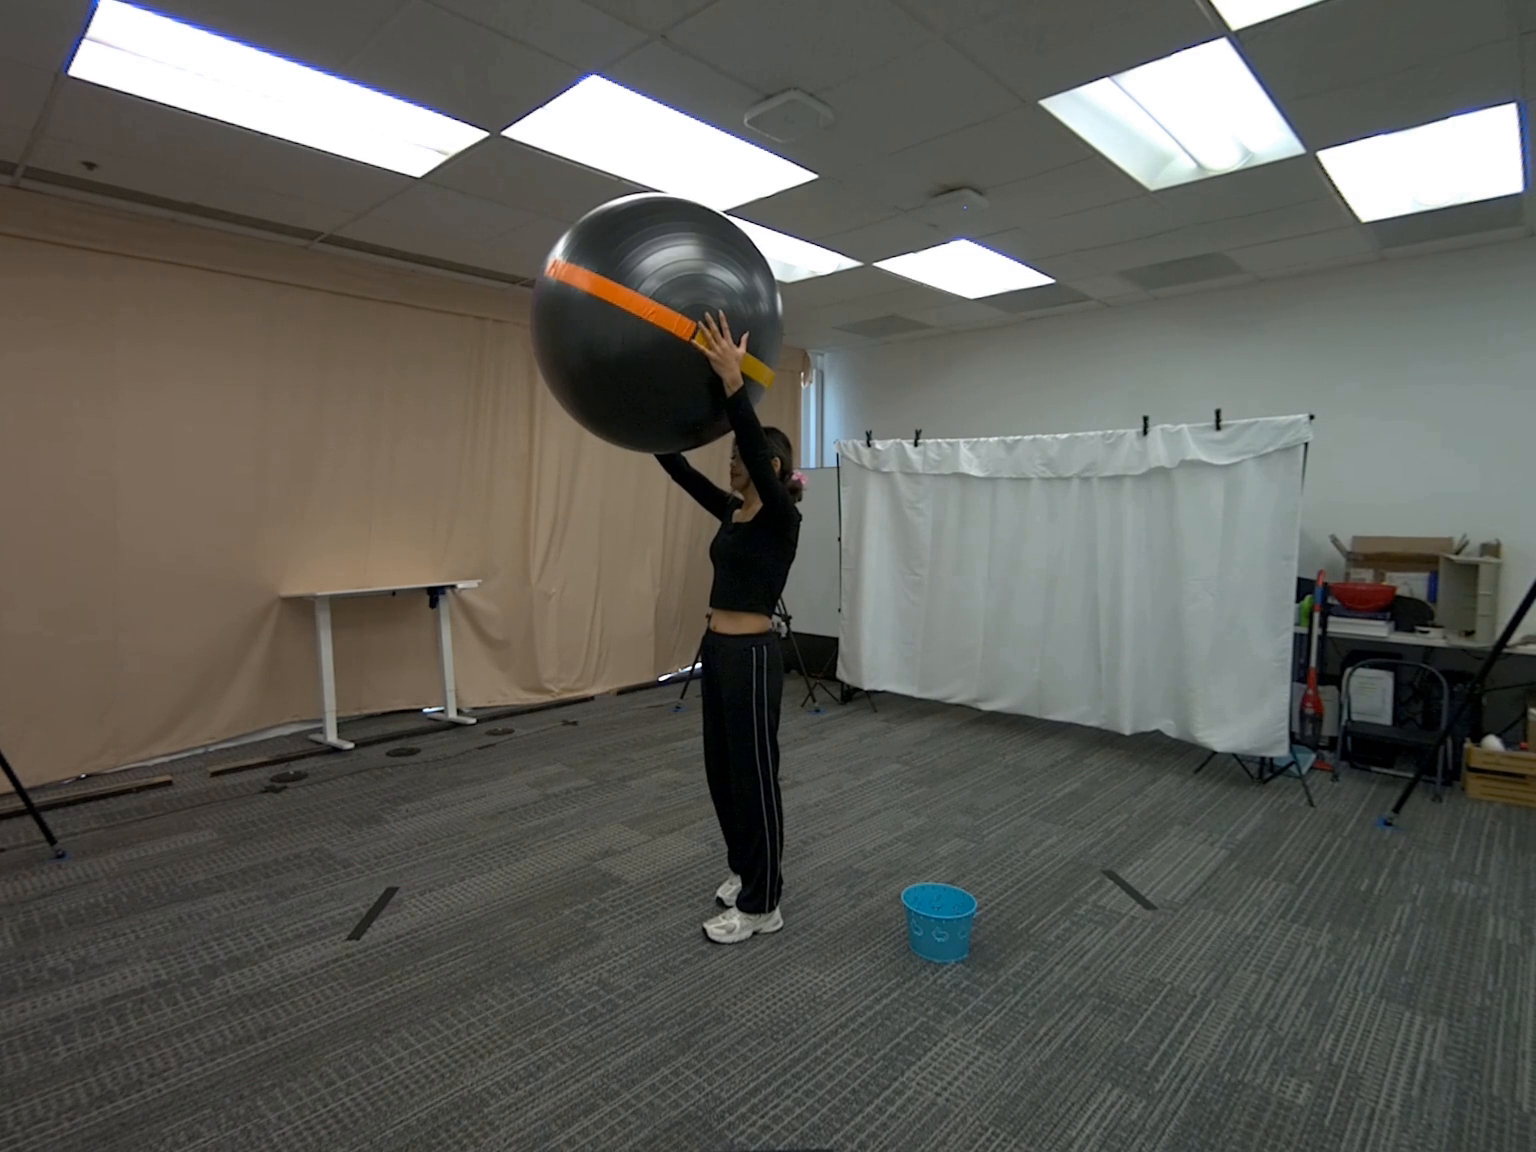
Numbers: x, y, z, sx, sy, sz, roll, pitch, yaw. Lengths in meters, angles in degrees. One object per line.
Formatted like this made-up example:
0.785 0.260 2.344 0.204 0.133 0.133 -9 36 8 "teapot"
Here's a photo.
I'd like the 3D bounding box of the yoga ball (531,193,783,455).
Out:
-0.339 -0.745 2.546 0.757 0.756 0.760 0 4 -2 "yoga ball"
